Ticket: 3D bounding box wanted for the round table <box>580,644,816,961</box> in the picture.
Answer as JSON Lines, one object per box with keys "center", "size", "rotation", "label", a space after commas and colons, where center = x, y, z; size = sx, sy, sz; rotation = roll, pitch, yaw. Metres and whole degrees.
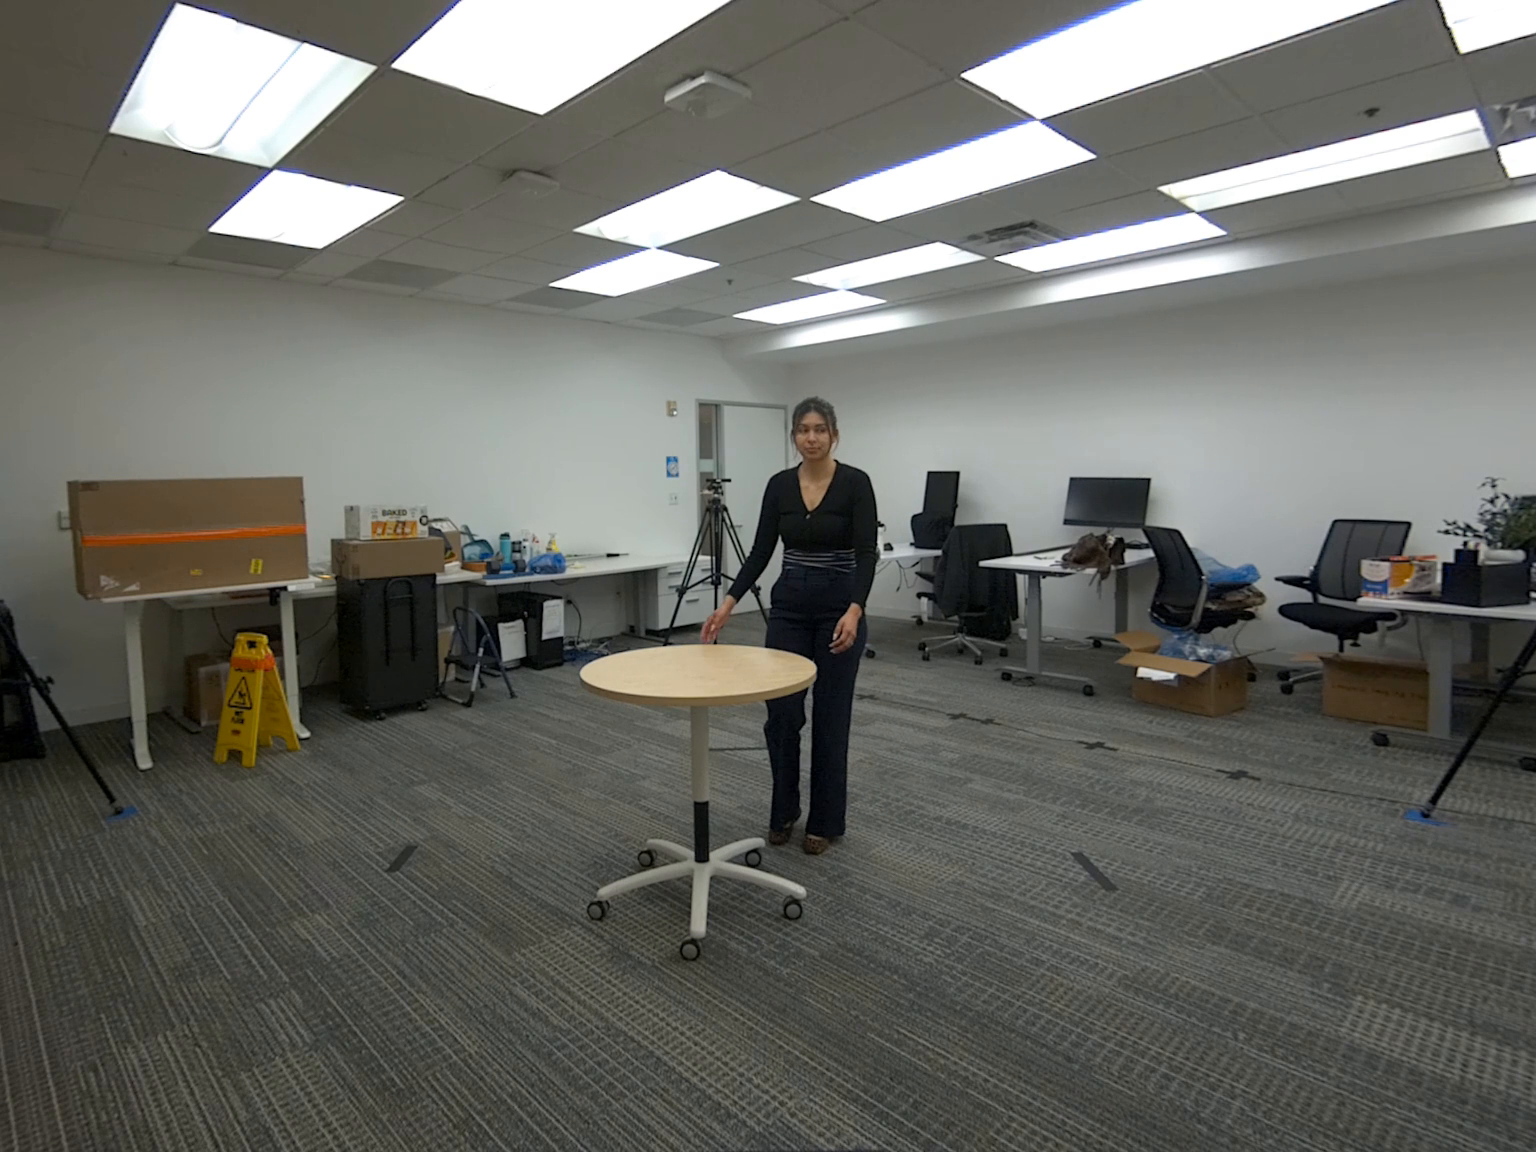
{"center": [-0.219, 0.690, 2.811], "size": [0.763, 0.790, 0.768], "rotation": [-1, 5, -2], "label": "round table"}
